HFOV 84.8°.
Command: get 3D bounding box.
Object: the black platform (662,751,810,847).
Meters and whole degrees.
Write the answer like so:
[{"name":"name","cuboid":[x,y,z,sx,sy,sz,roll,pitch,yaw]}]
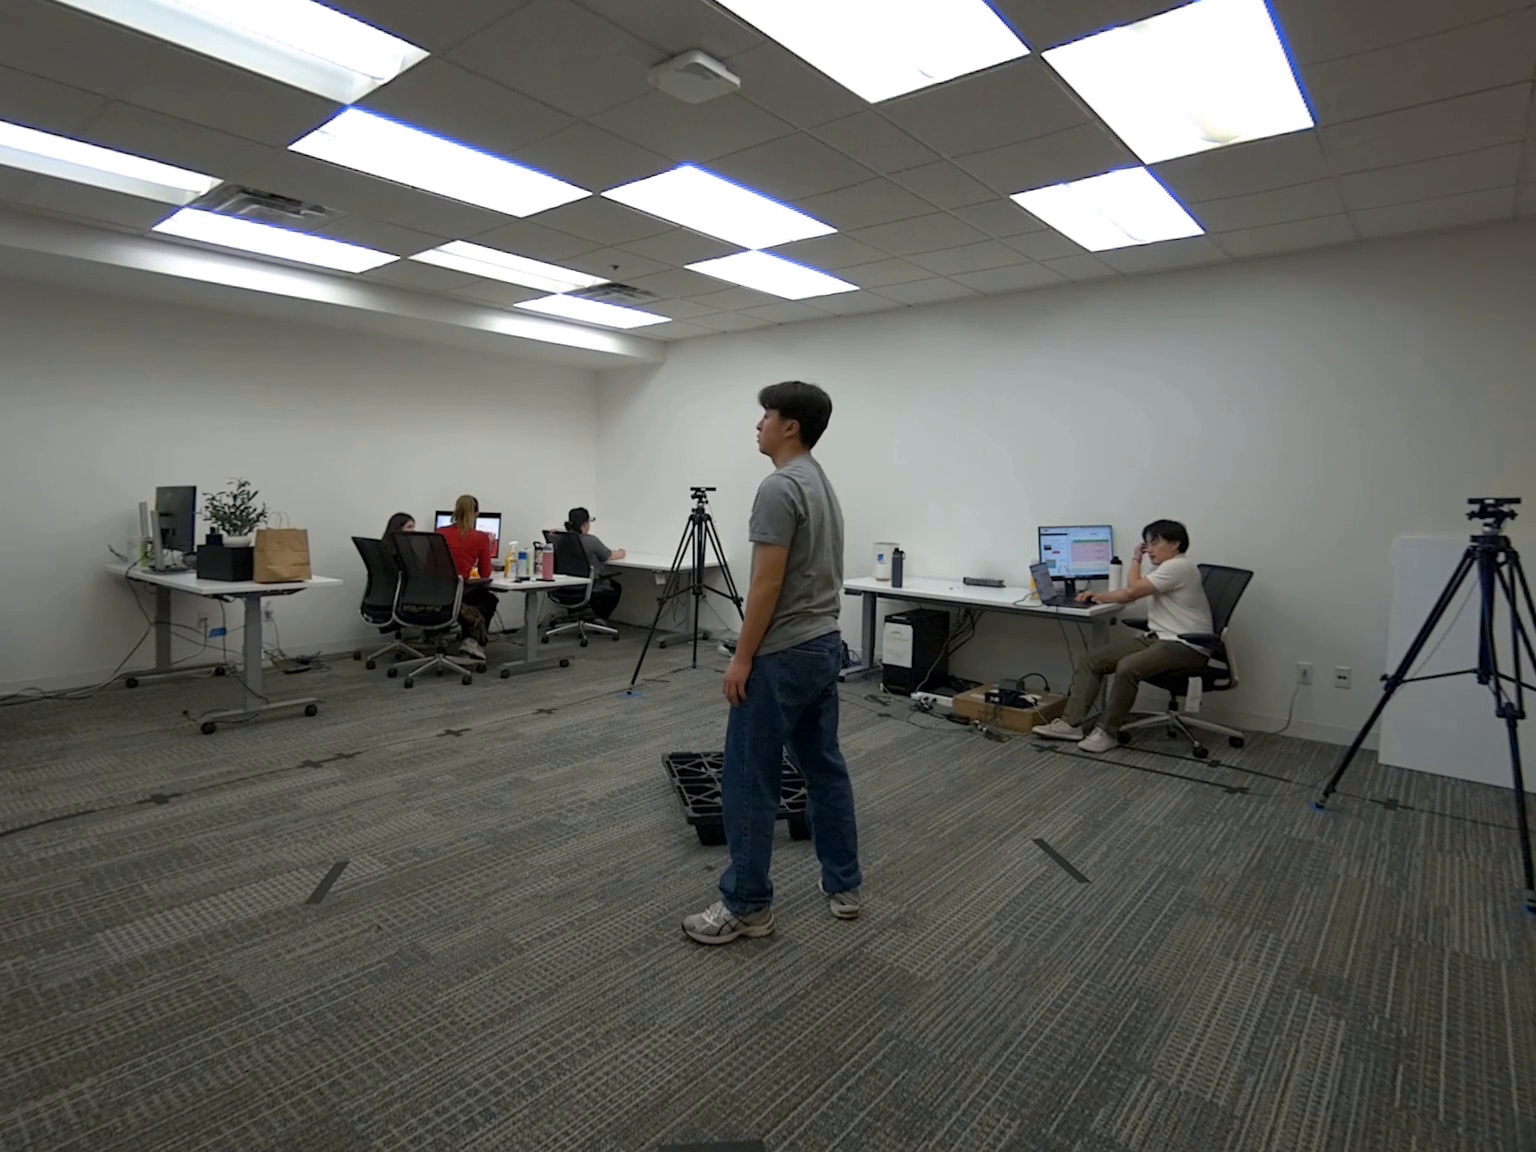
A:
[{"name":"black platform","cuboid":[-0.133,0.947,3.698,0.597,0.143,0.819,0,5,-13]}]
